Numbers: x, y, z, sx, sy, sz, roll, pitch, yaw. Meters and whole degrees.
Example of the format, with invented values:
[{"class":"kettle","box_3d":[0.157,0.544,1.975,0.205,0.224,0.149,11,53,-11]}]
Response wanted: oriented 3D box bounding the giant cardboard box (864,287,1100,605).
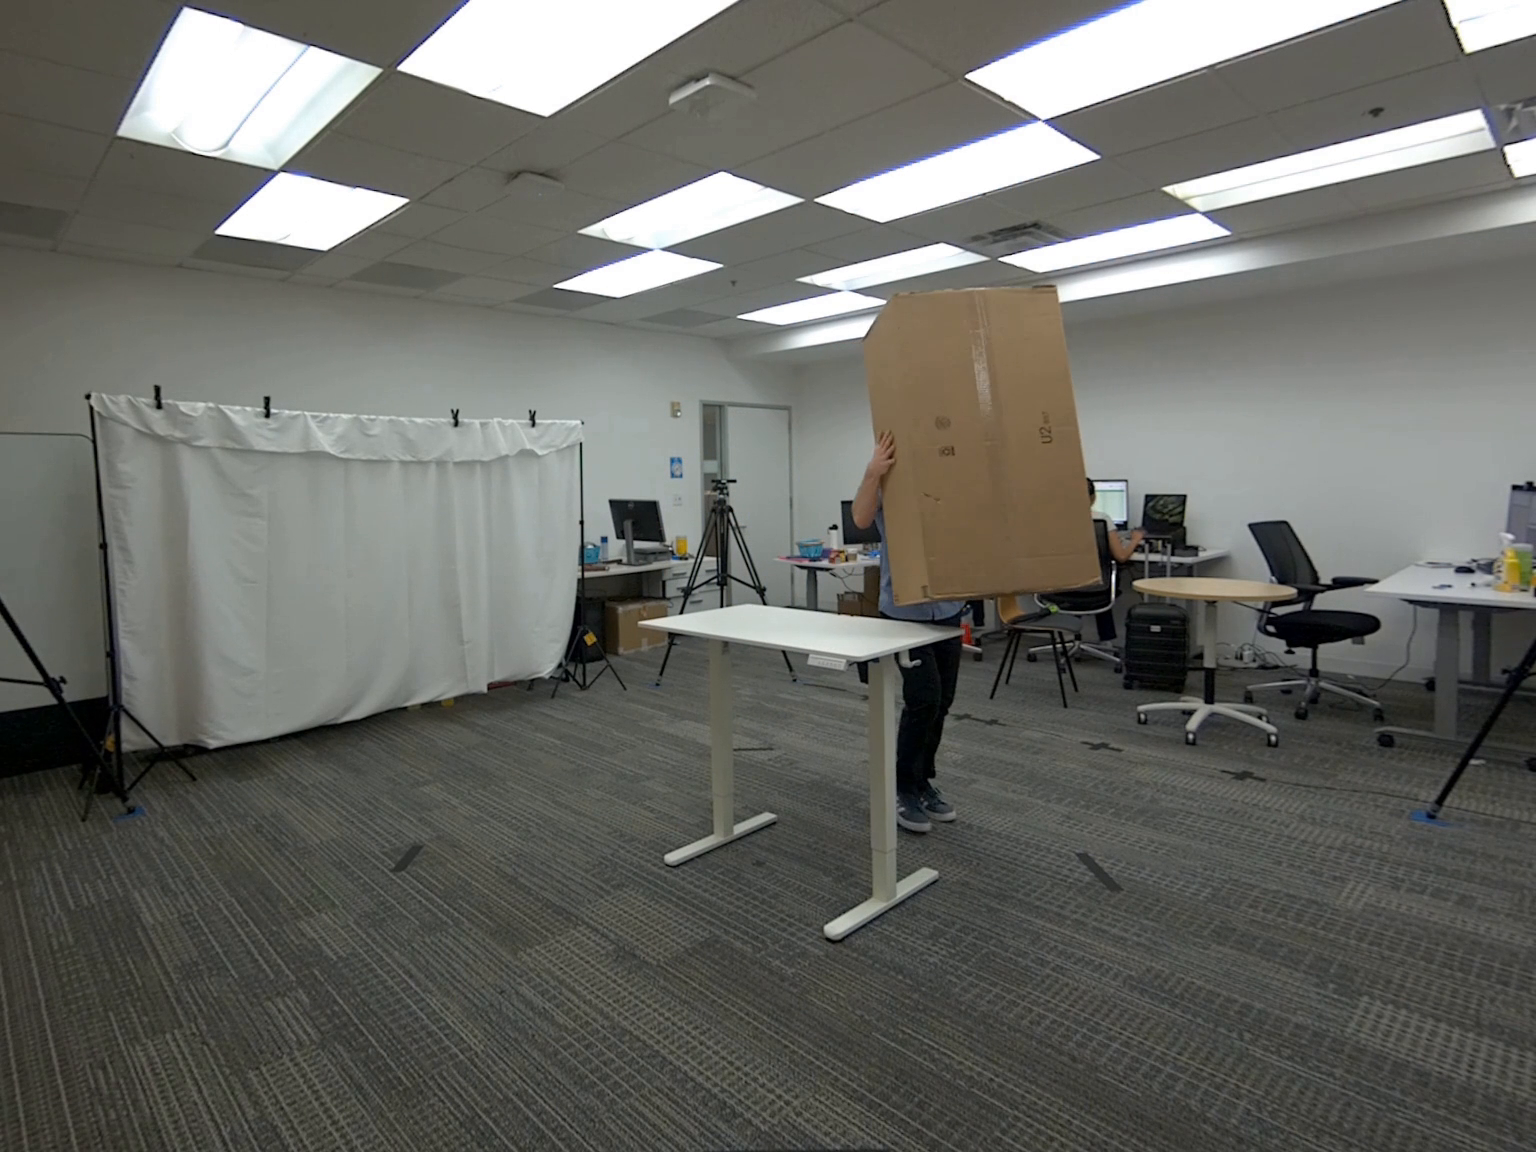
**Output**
[{"class":"giant cardboard box","box_3d":[0.714,-0.433,2.989,0.575,1.033,0.425,-5,-7,-5]}]
